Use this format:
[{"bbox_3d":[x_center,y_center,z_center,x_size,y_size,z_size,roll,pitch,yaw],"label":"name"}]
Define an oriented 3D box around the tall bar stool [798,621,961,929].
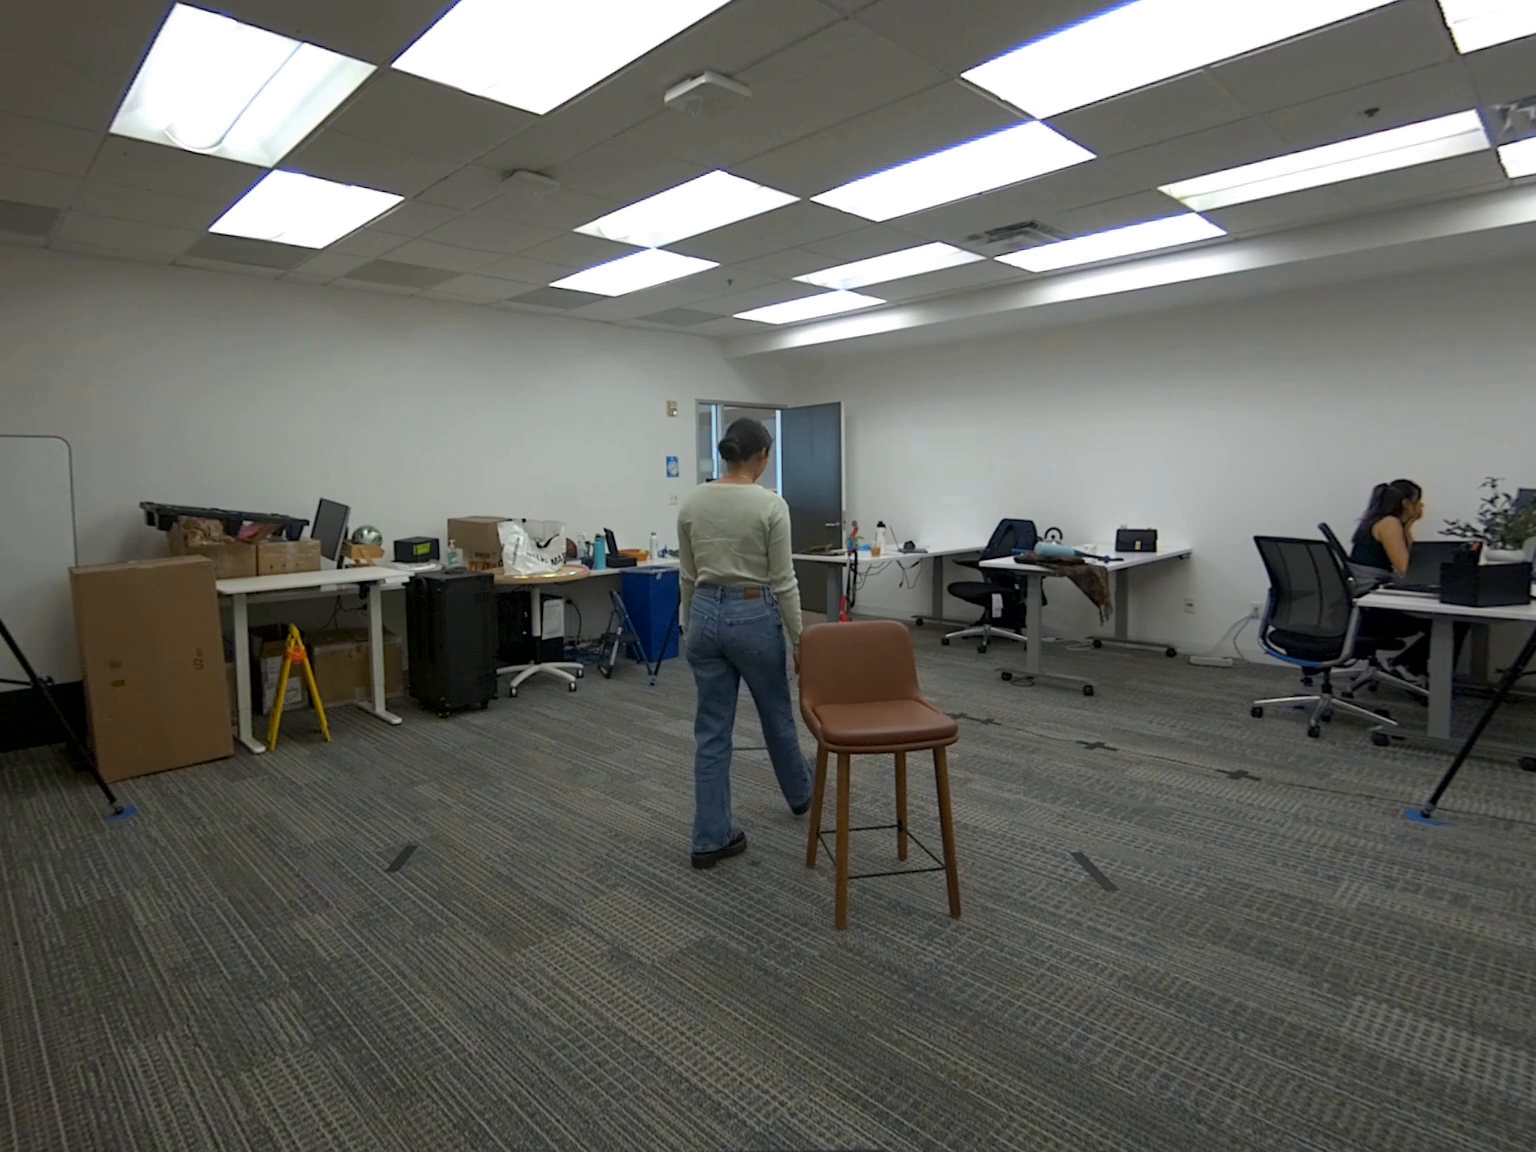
[{"bbox_3d":[0.355,0.627,2.869,0.453,0.888,0.472,-1,2,-9],"label":"tall bar stool"}]
